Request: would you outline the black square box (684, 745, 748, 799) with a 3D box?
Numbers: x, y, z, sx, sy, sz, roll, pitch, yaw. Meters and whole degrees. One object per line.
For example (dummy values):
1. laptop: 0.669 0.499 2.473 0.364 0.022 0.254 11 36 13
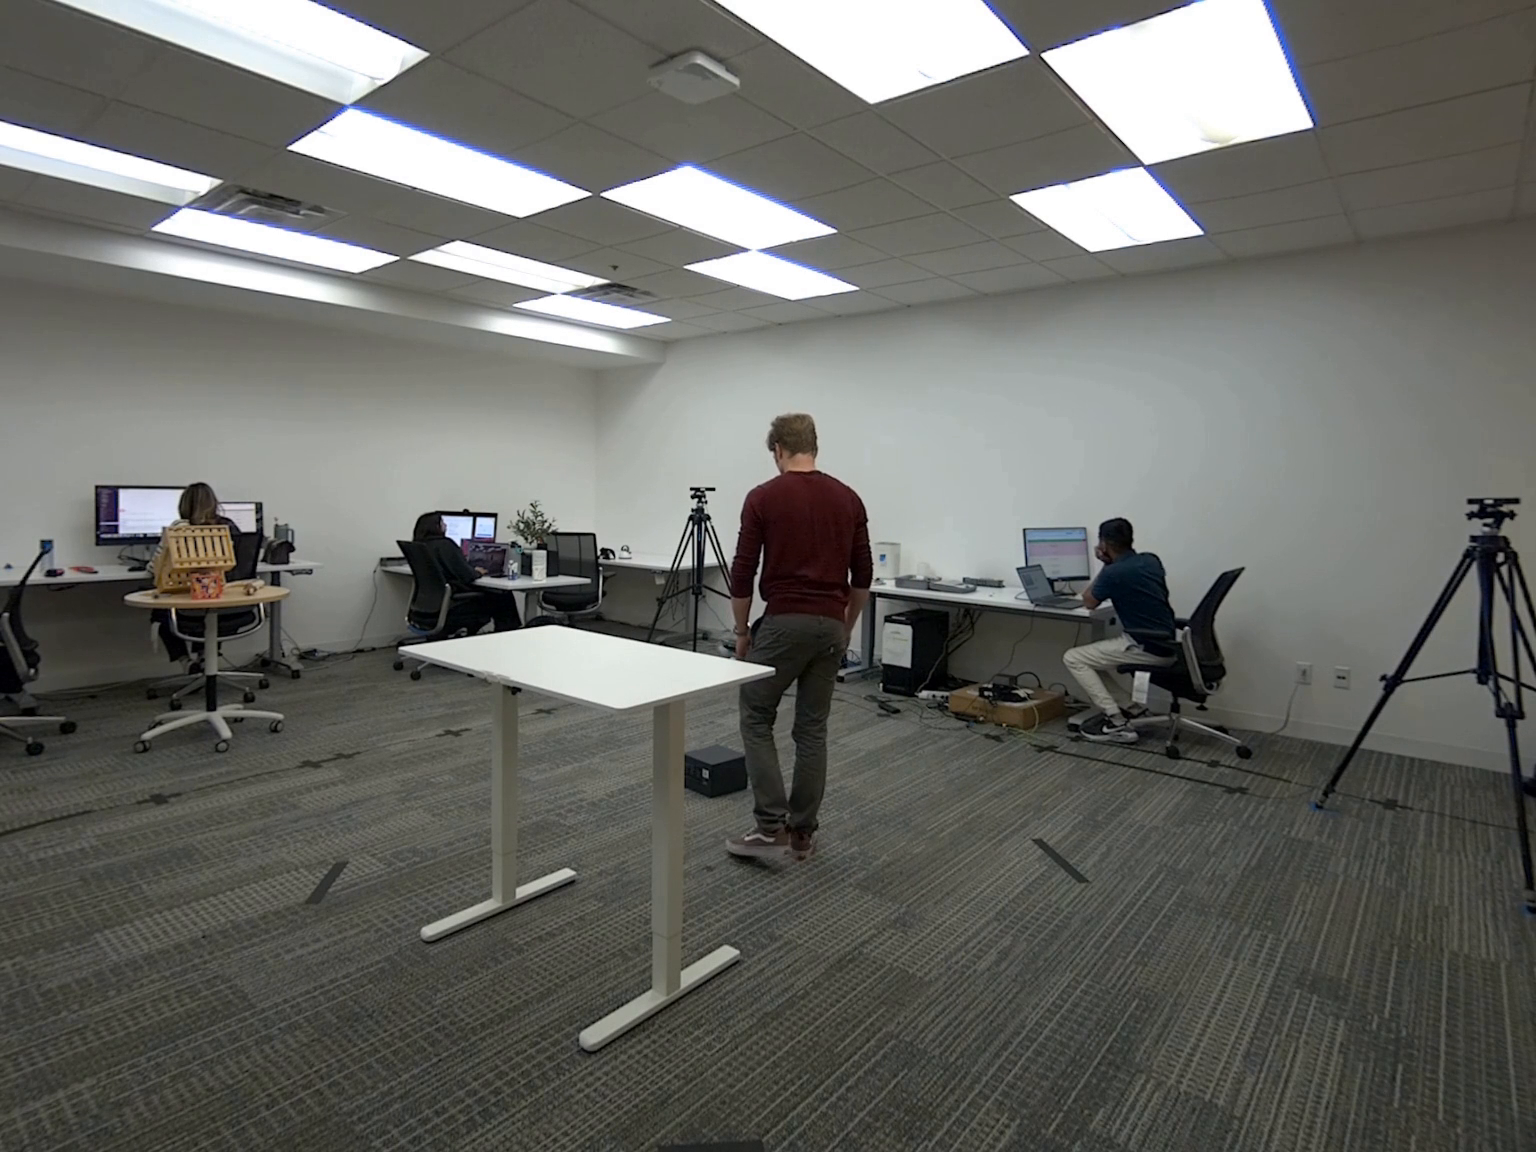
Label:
1. black square box: -0.259 0.898 3.961 0.221 0.155 0.224 -3 6 -44
